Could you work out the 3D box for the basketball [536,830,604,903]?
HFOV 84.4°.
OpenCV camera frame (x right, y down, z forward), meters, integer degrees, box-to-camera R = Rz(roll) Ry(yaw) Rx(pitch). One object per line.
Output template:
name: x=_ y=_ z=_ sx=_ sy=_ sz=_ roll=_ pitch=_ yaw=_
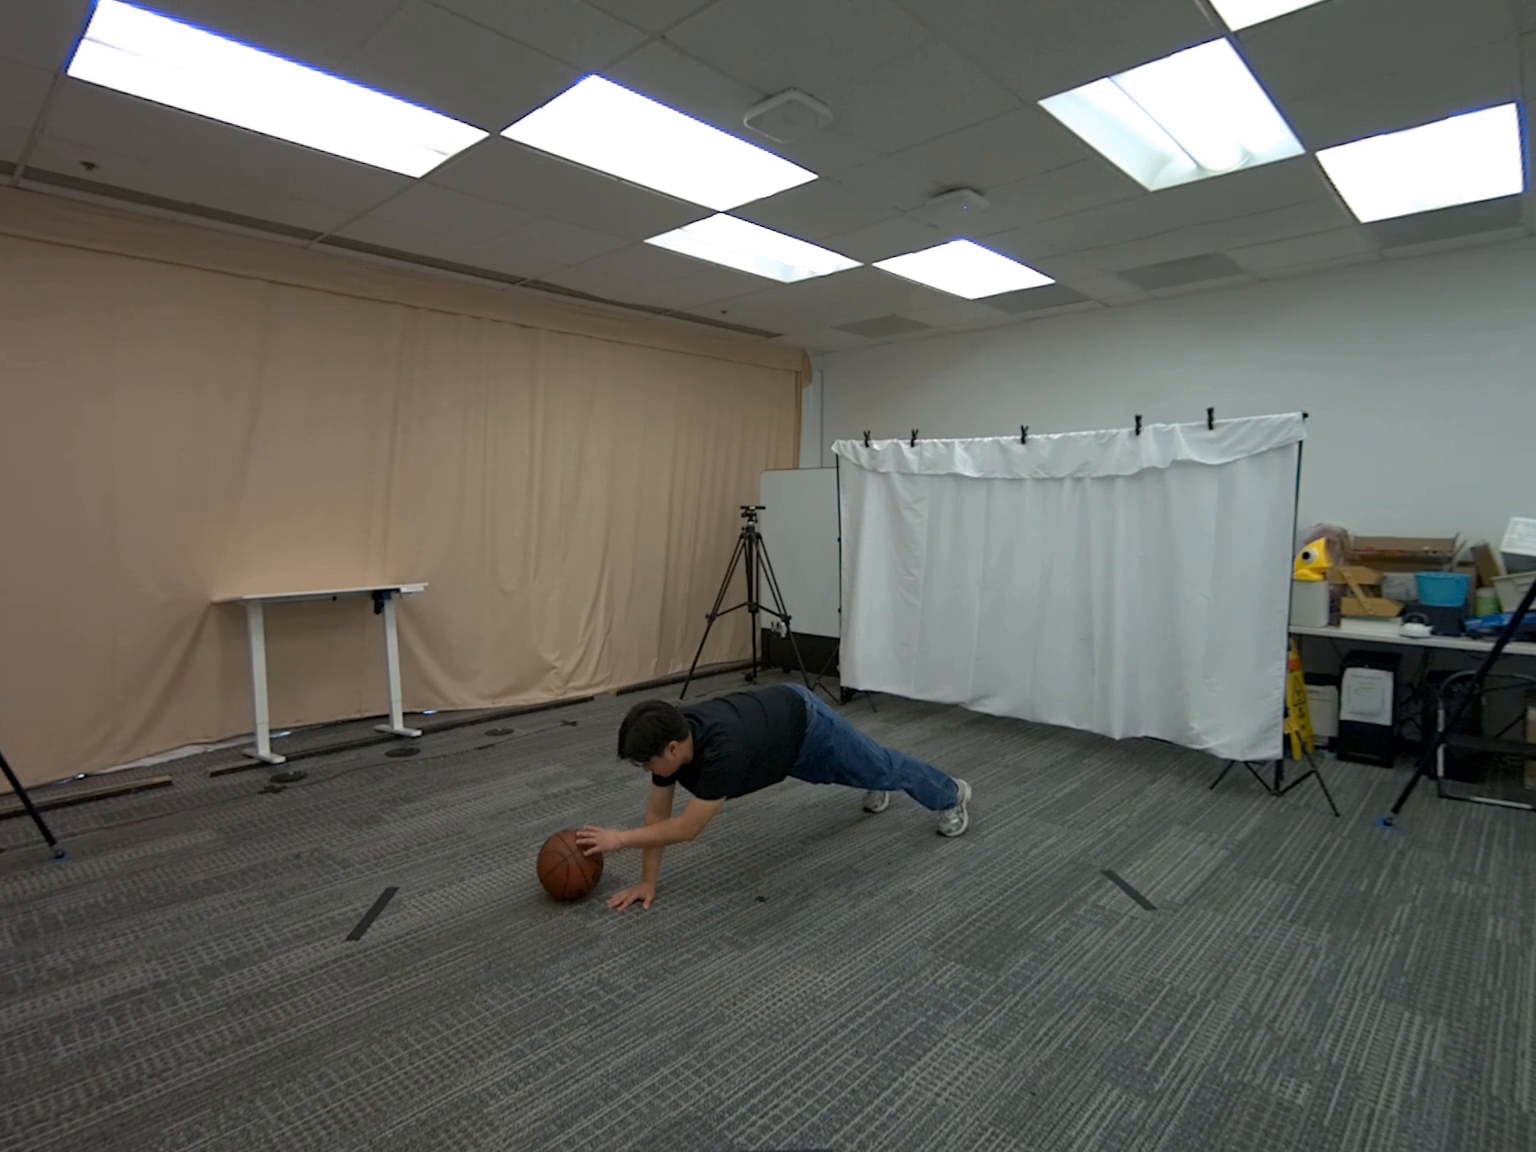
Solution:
basketball: x=-0.707 y=1.027 z=3.008 sx=0.236 sy=0.235 sz=0.237 roll=0 pitch=4 yaw=-2
